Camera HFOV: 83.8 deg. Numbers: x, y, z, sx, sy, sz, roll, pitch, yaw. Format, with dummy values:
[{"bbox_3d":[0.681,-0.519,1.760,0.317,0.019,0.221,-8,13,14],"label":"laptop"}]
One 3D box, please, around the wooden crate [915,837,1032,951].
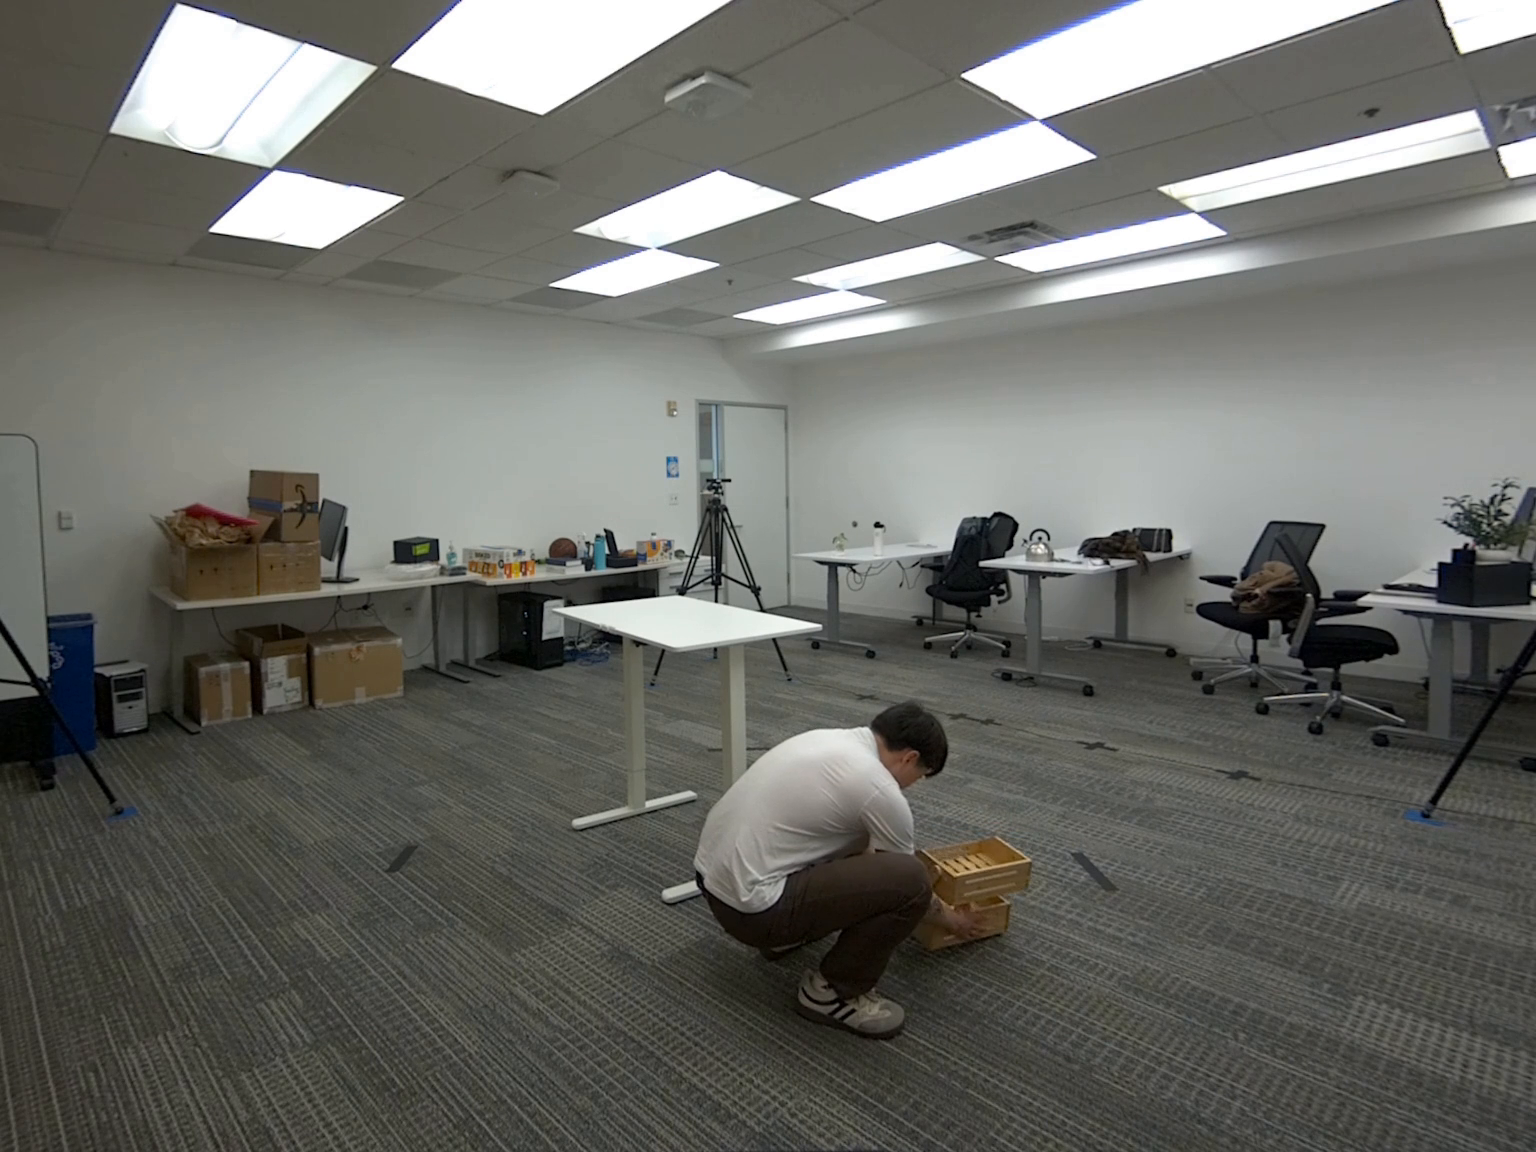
[{"bbox_3d":[0.562,0.920,2.596,0.316,0.271,0.311,1,10,-29],"label":"wooden crate"}]
